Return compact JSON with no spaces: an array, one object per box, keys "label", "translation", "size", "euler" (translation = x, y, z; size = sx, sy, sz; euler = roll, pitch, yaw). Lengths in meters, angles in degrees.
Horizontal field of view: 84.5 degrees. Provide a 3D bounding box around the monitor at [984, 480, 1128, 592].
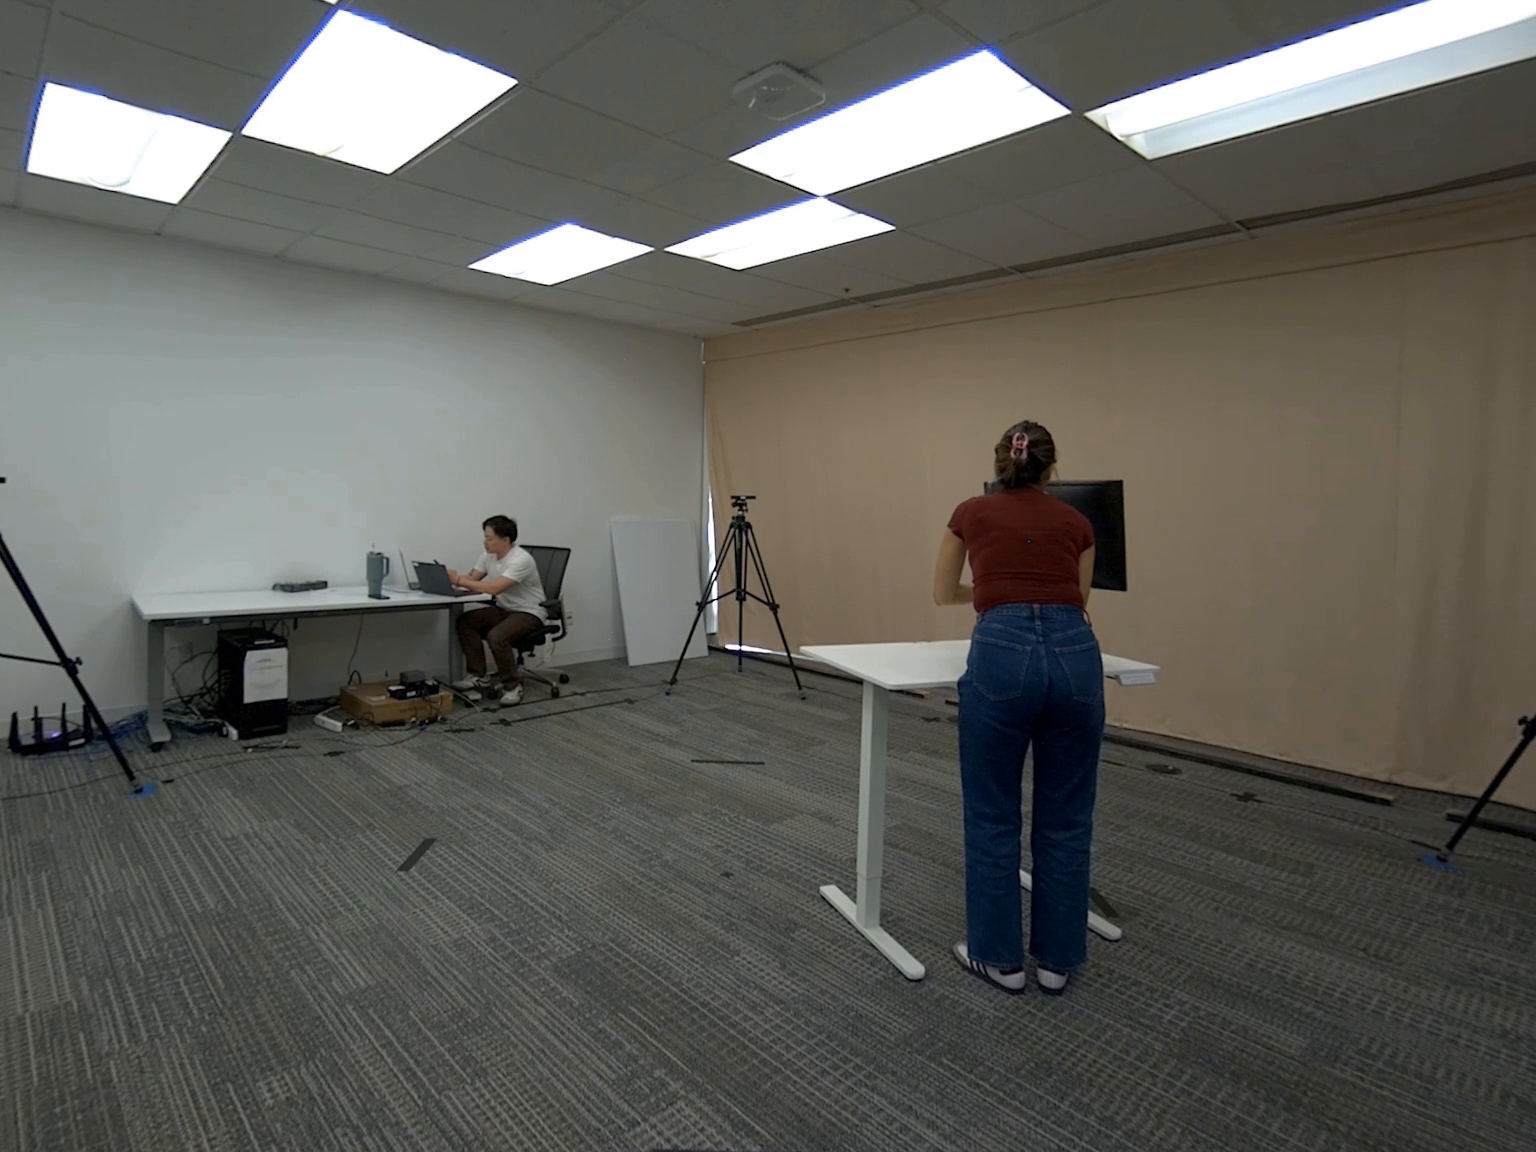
[{"label":"monitor","translation":[0.923,-0.056,2.821],"size":[0.182,0.522,0.552],"euler":[6,1,-35]}]
